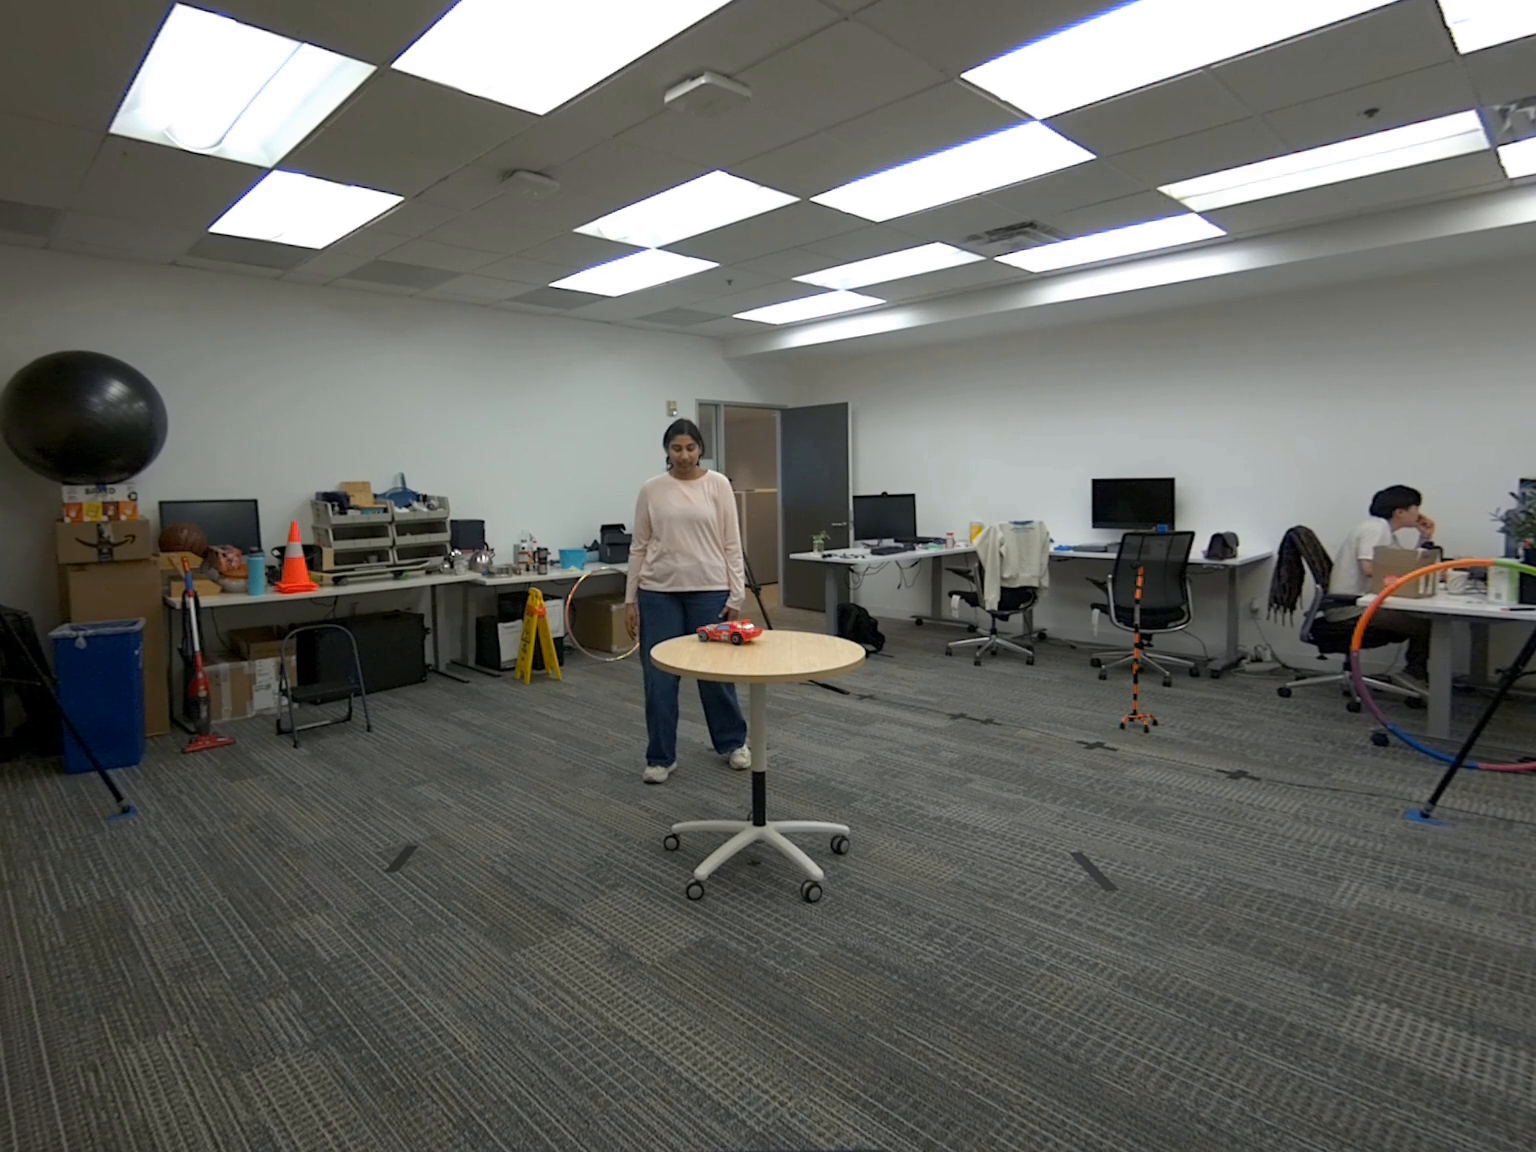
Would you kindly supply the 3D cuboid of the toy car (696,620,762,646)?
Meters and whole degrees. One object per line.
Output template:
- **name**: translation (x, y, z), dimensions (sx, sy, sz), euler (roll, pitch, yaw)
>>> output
- **toy car**: translation (-0.133, 0.219, 3.213), dimensions (0.260, 0.083, 0.127), euler (-10, 1, 29)
